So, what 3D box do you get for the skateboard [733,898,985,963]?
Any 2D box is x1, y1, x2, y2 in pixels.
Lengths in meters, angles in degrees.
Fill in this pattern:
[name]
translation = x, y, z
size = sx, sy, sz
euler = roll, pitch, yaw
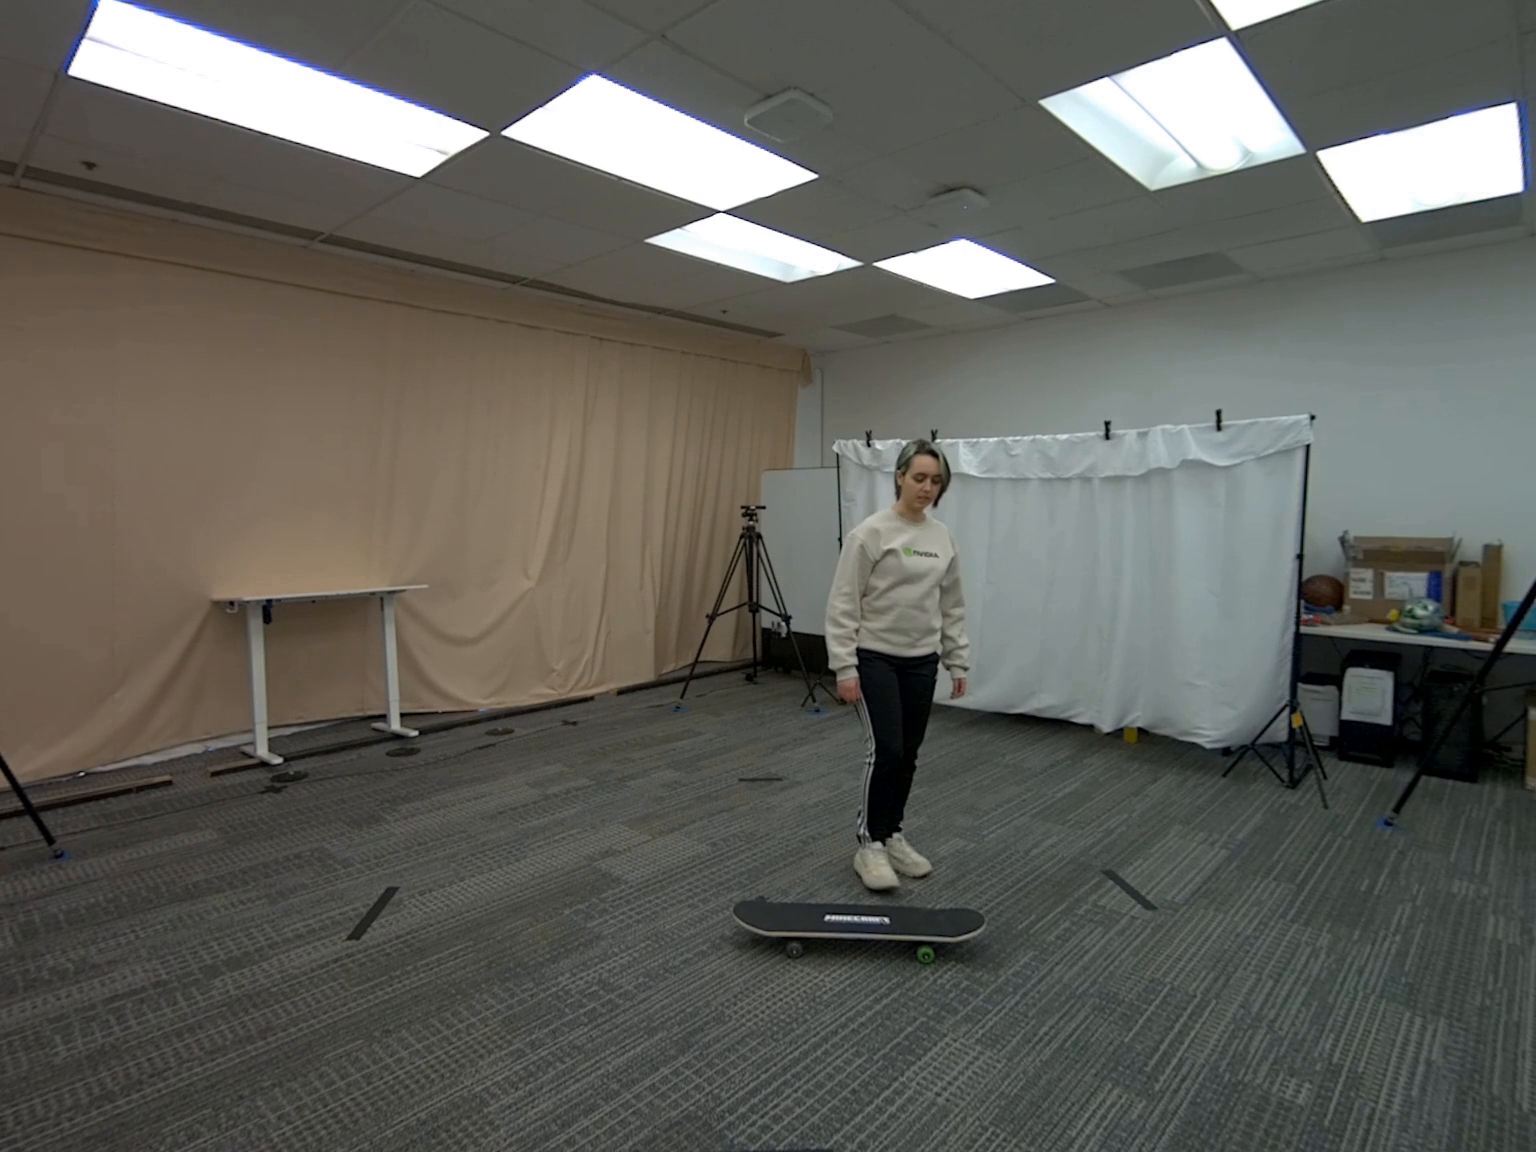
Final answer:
[skateboard]
translation = 0.285, 1.113, 2.649
size = 0.790, 0.110, 0.193
euler = 0, 5, 5
